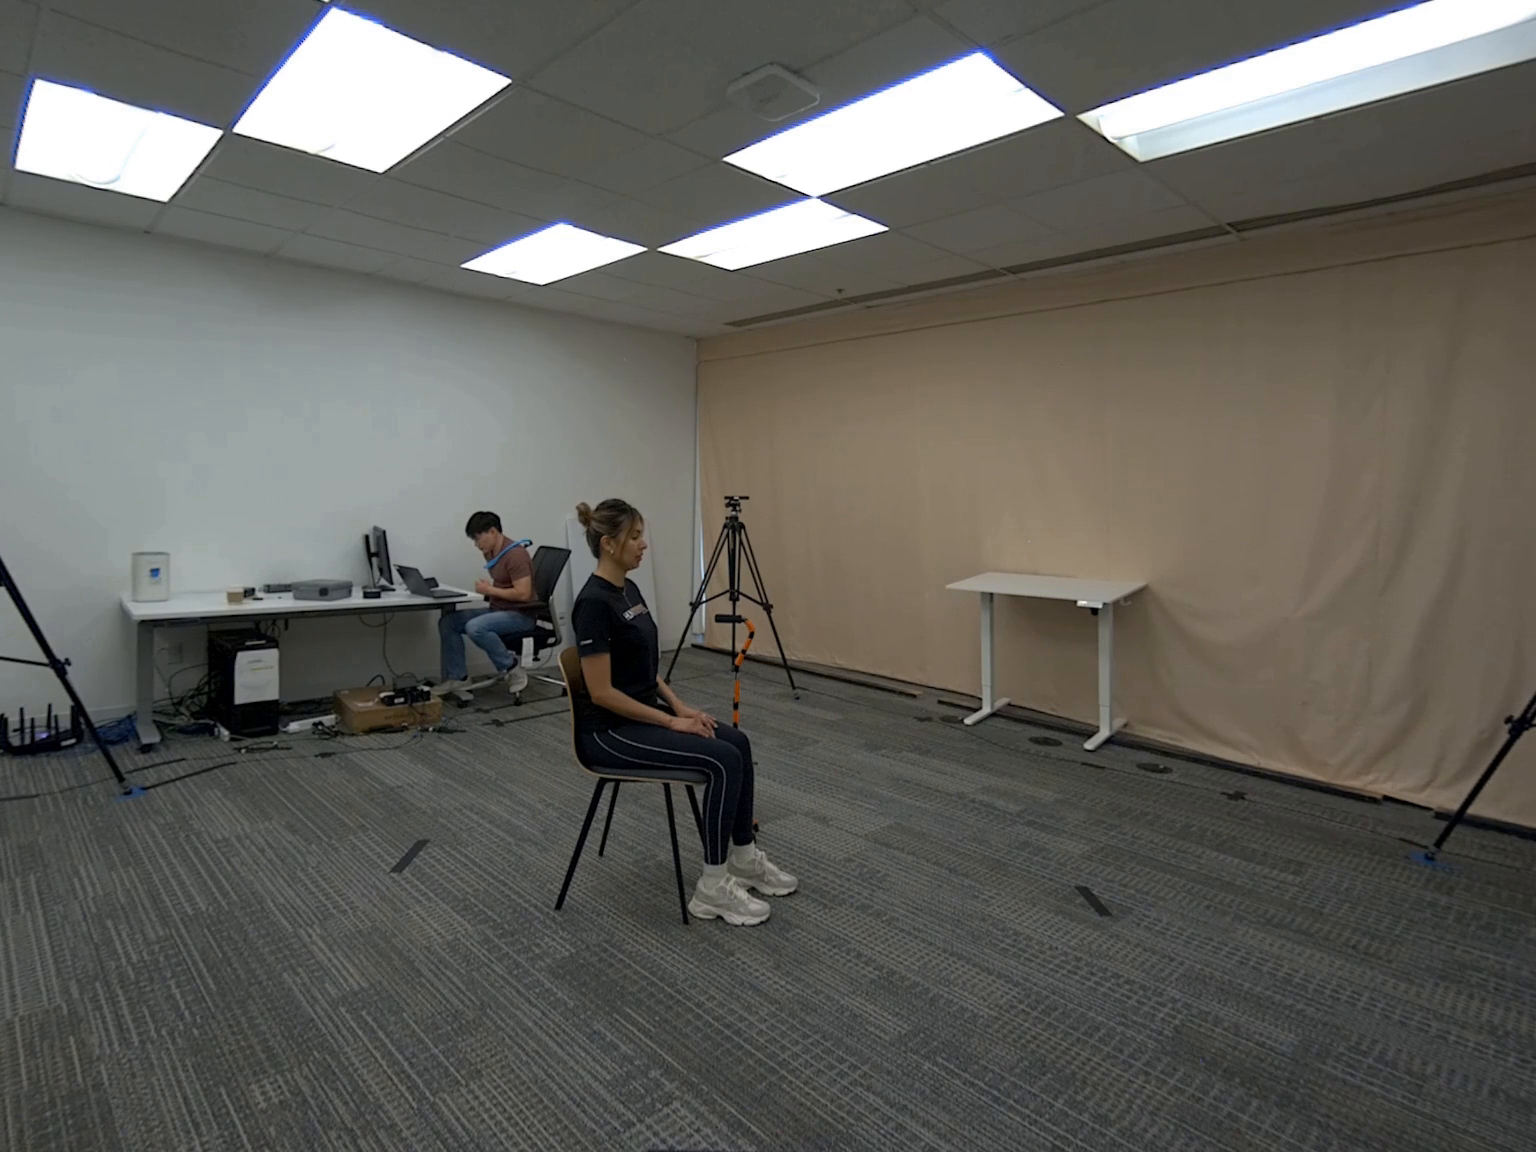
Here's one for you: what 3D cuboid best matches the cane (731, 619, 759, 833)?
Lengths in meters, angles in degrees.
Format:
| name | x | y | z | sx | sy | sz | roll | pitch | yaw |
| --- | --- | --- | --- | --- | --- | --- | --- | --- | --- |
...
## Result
| name | x | y | z | sx | sy | sz | roll | pitch | yaw |
| --- | --- | --- | --- | --- | --- | --- | --- | --- | --- |
| cane | -0.136 | 0.619 | 3.455 | 0.207 | 0.905 | 0.151 | 2 | 4 | 4 |
